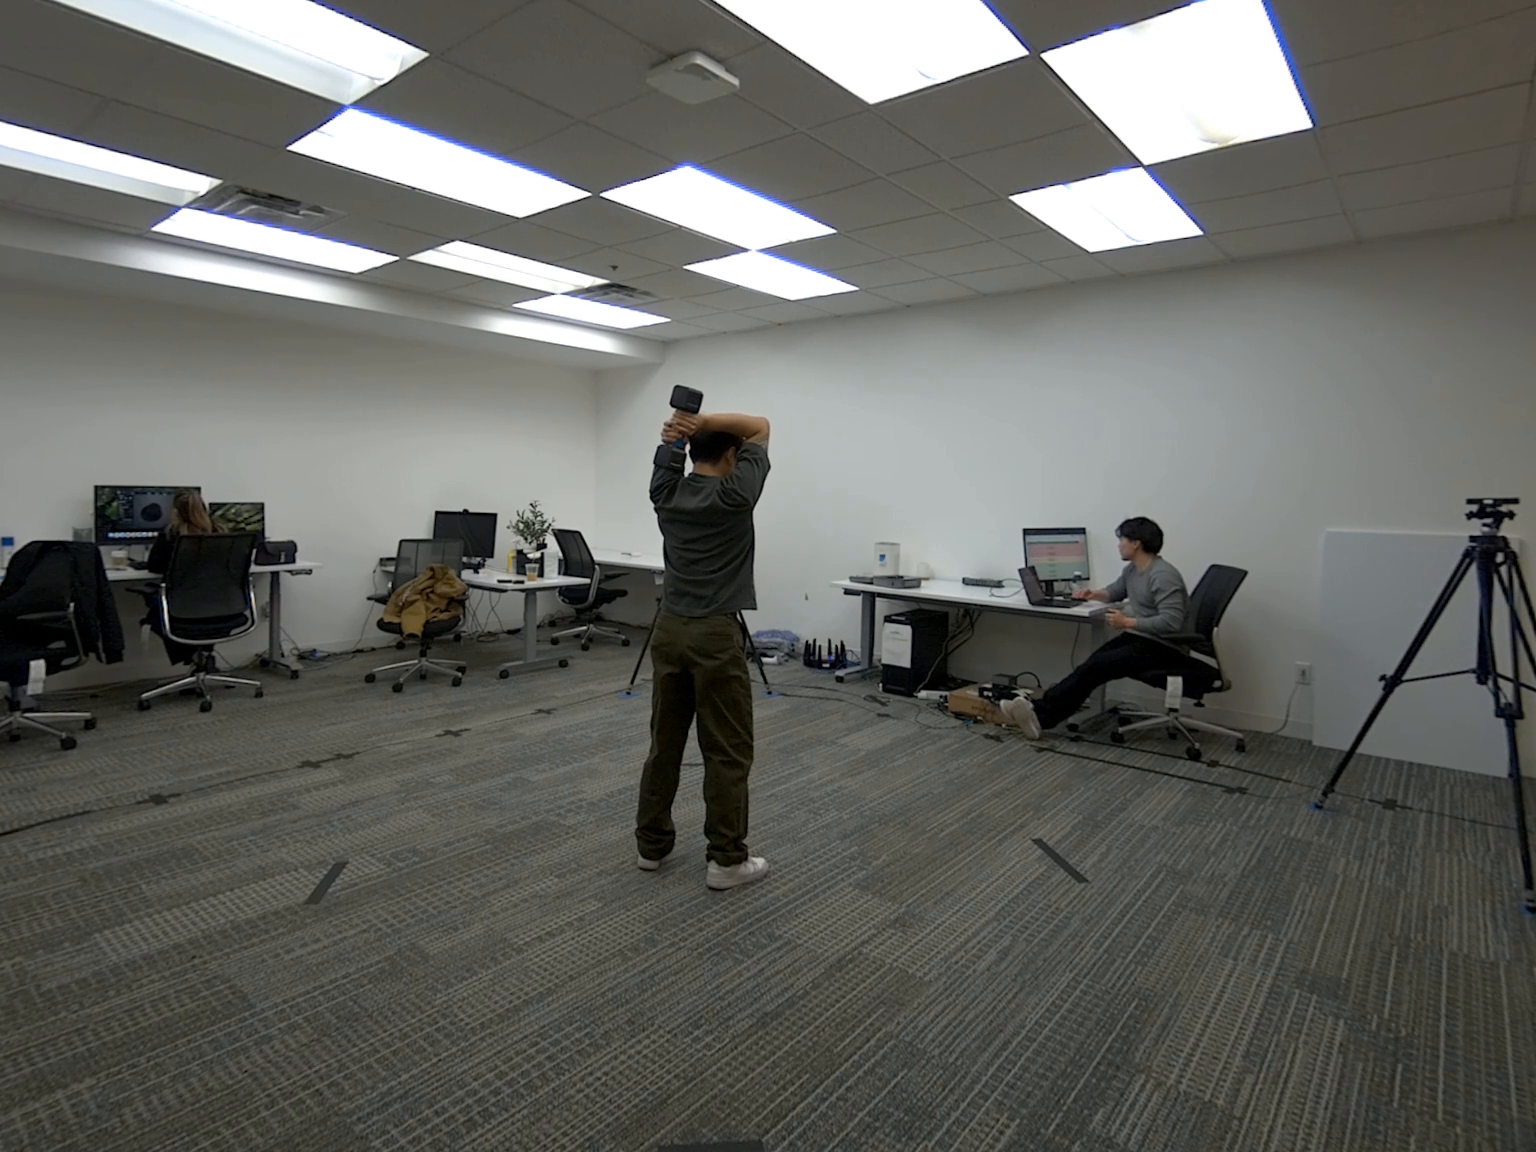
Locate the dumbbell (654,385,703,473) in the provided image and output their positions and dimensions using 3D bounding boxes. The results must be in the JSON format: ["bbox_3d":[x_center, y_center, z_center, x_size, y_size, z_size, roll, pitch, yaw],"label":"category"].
[{"bbox_3d":[-0.326,-0.521,2.961,0.119,0.293,0.113,15,6,-33],"label":"dumbbell"}]
